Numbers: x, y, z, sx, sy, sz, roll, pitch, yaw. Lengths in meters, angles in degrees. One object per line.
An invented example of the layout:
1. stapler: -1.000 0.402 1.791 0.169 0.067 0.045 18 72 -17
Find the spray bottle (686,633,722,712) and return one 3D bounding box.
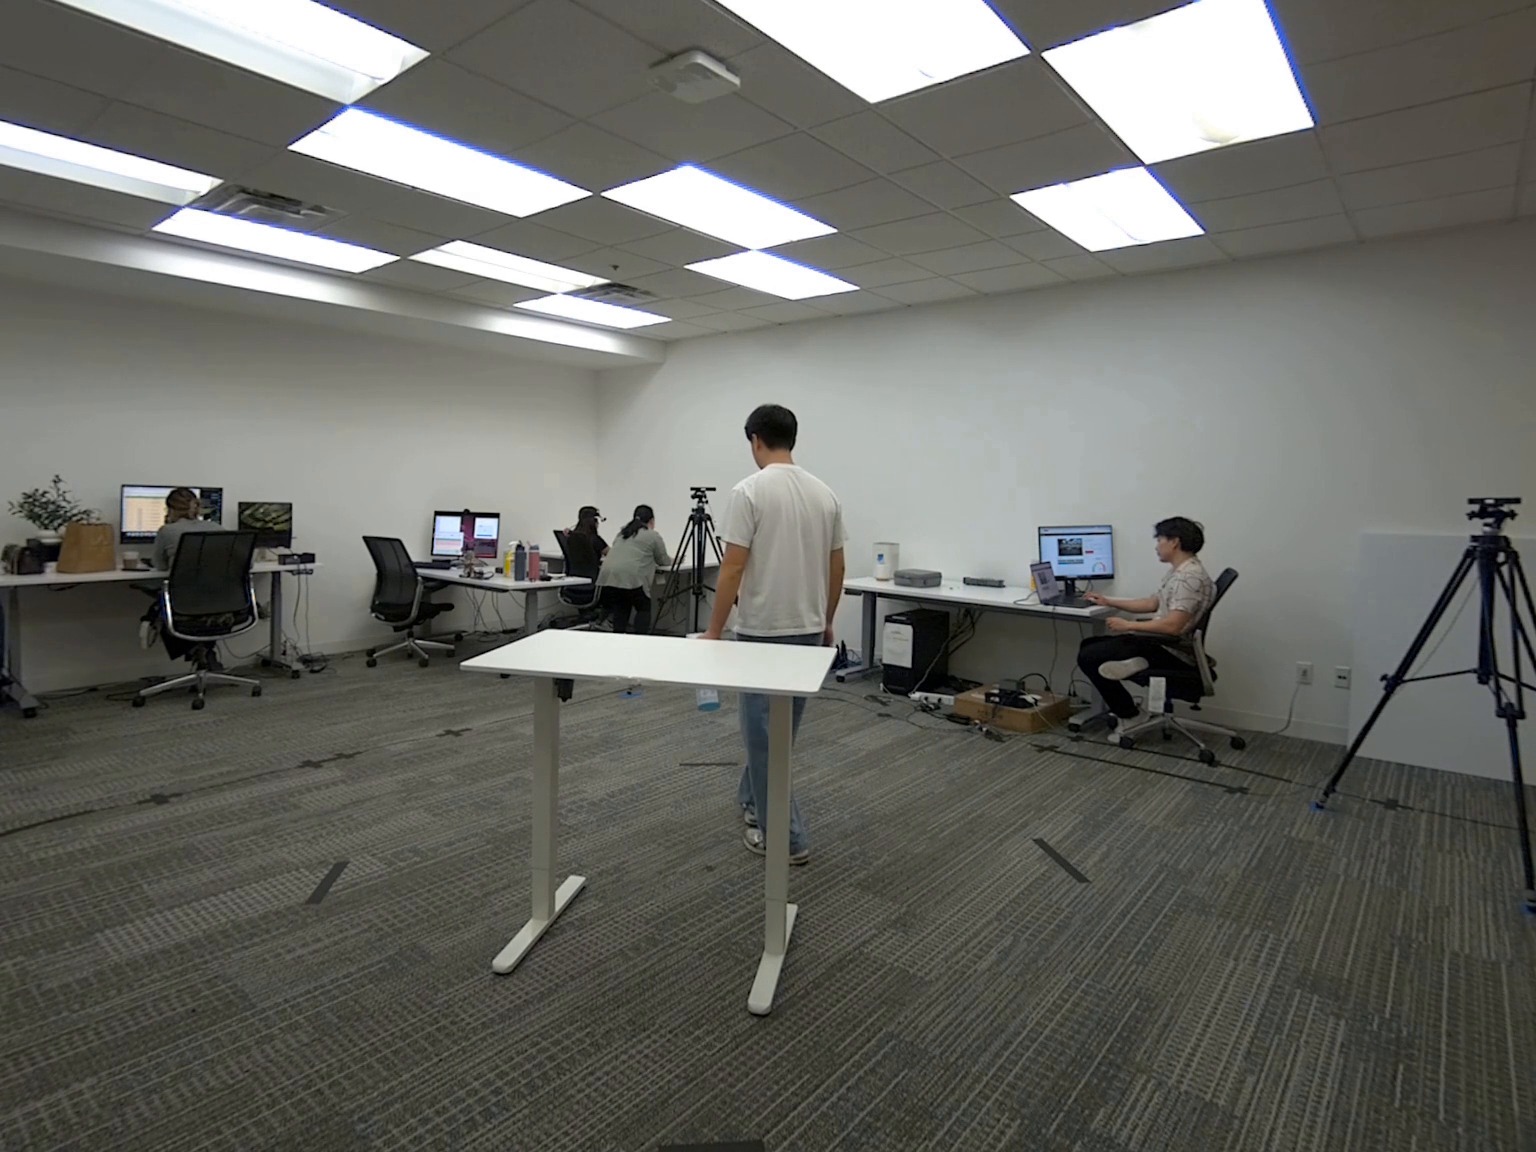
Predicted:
1. spray bottle: -0.237 0.353 3.211 0.091 0.305 0.084 -17 -26 18
